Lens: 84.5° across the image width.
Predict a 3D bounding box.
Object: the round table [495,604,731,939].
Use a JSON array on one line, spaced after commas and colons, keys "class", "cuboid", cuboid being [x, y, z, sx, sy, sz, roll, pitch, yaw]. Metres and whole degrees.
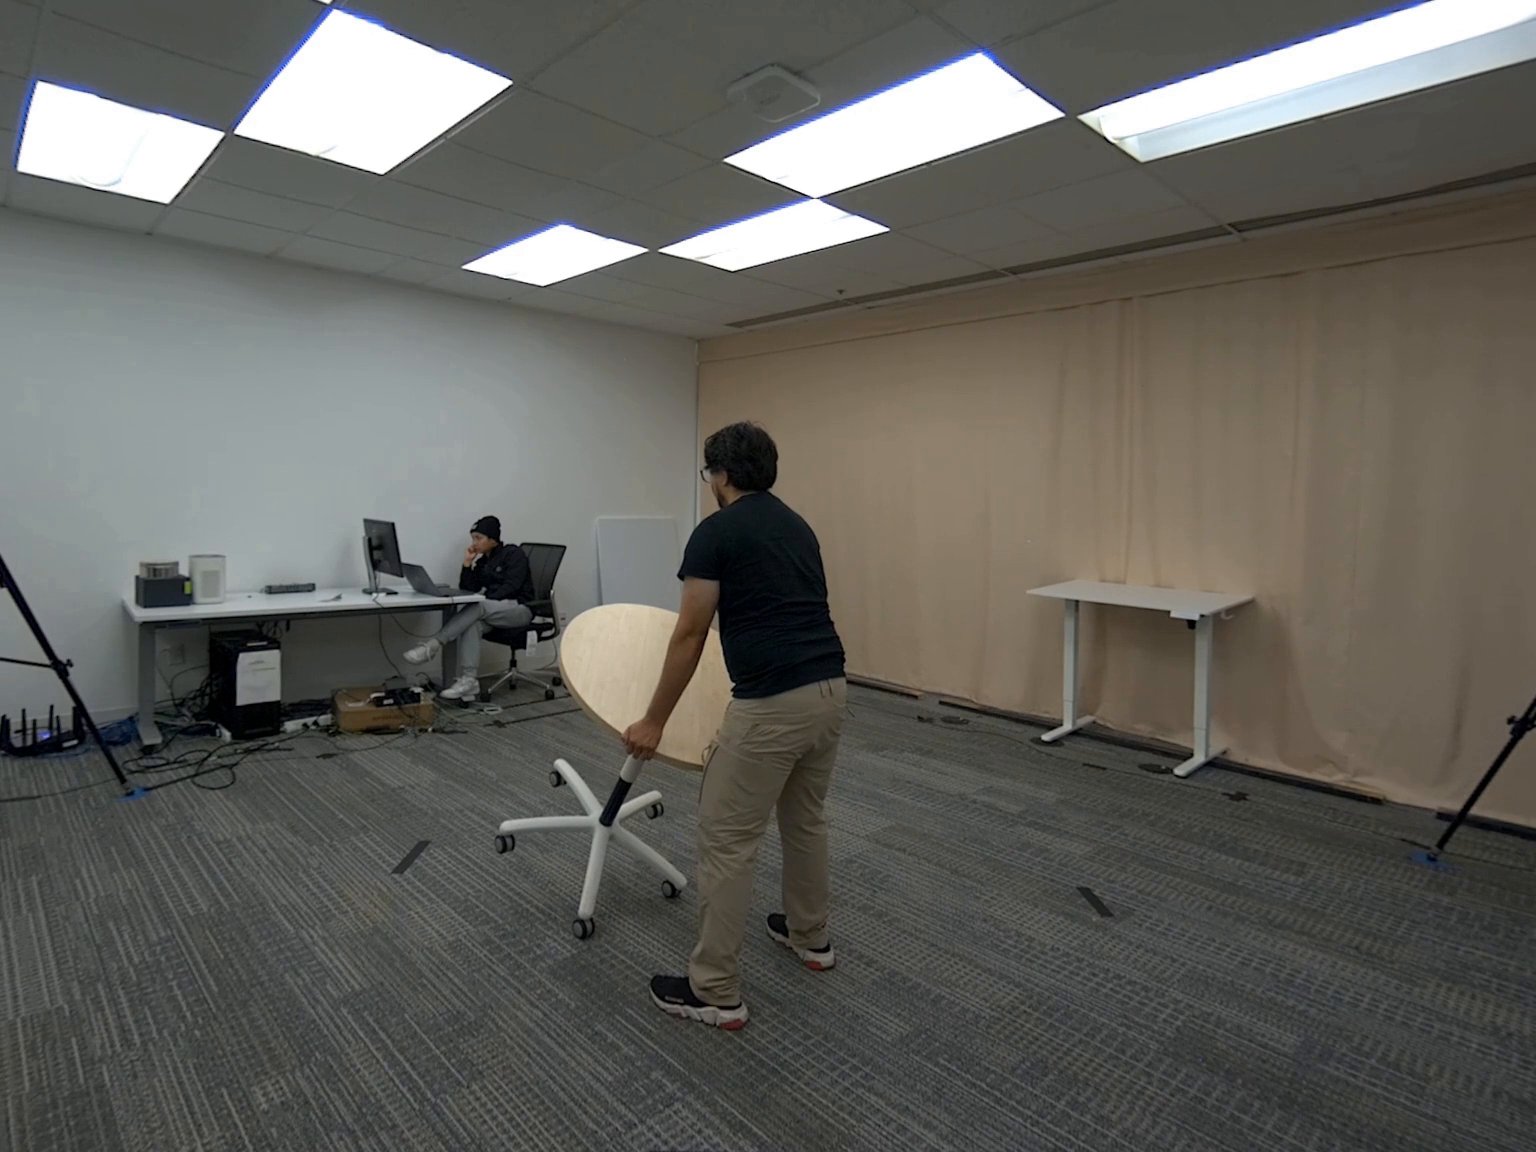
[{"class": "round table", "cuboid": [-0.451, 0.651, 2.811, 0.777, 0.781, 0.799, 21, 24, -11]}]
